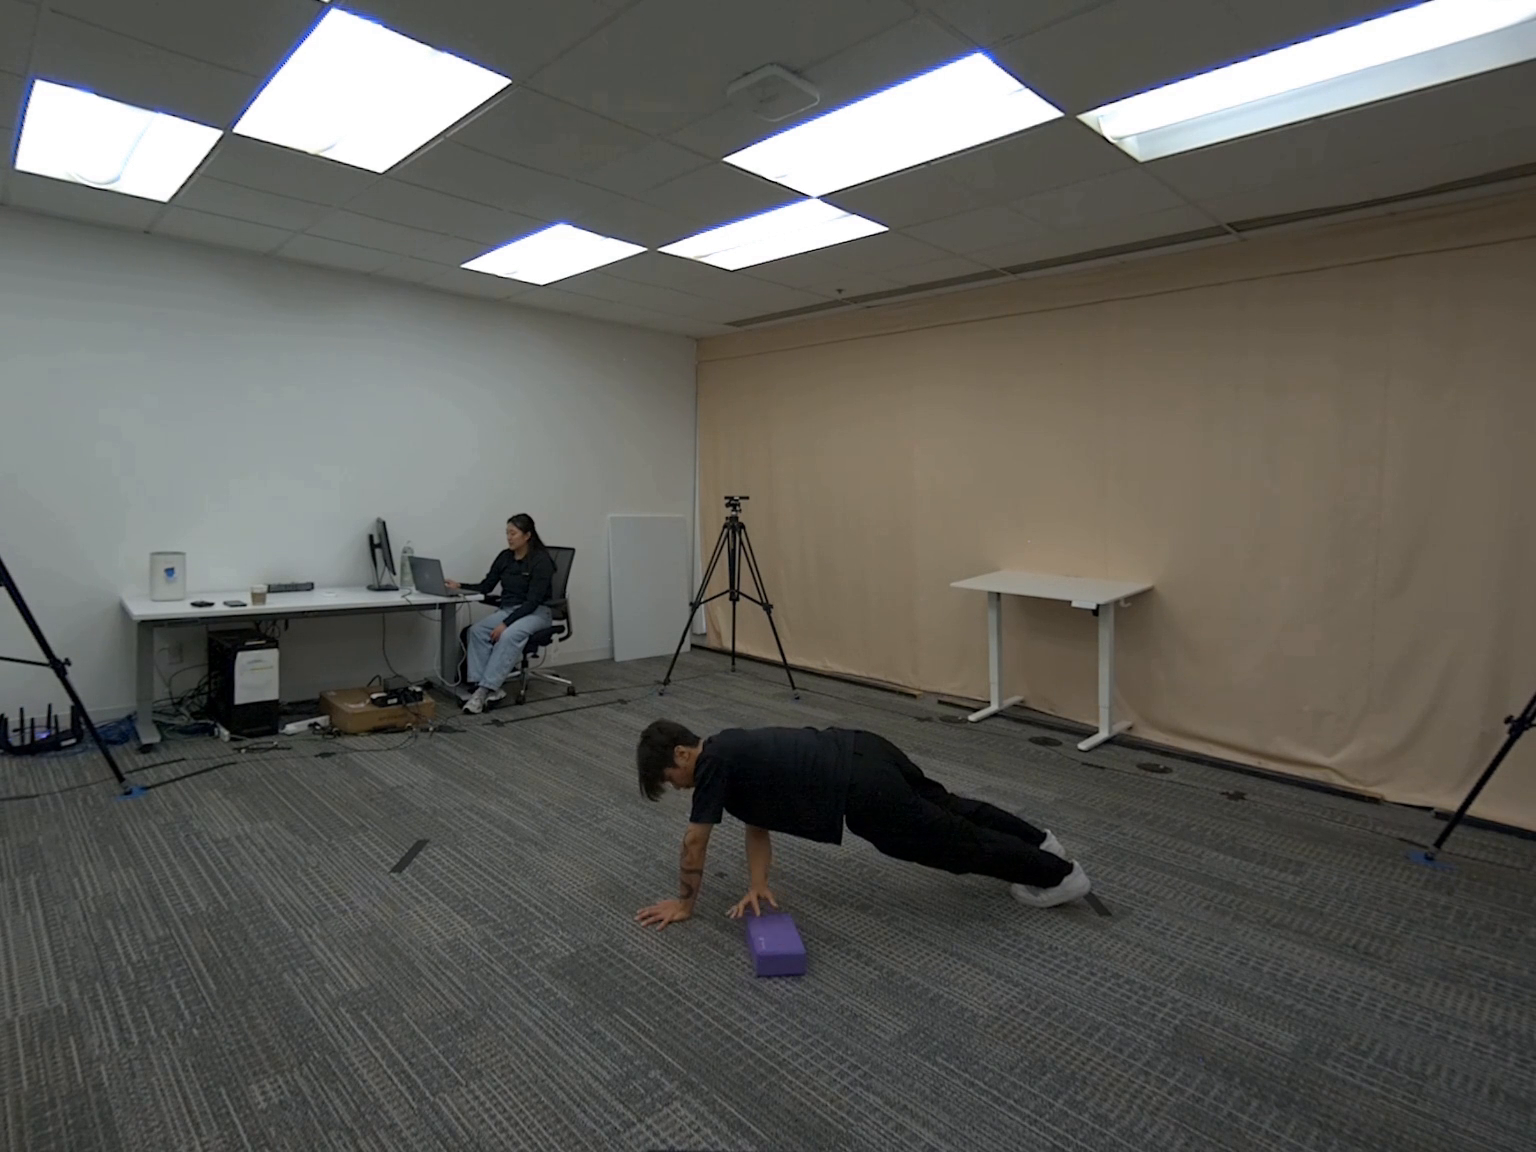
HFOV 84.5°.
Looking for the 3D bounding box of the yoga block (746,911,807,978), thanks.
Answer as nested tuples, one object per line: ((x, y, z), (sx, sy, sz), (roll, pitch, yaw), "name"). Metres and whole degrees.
((0.012, 1.116, 2.557), (0.148, 0.076, 0.231), (0, 5, -9), "yoga block")
